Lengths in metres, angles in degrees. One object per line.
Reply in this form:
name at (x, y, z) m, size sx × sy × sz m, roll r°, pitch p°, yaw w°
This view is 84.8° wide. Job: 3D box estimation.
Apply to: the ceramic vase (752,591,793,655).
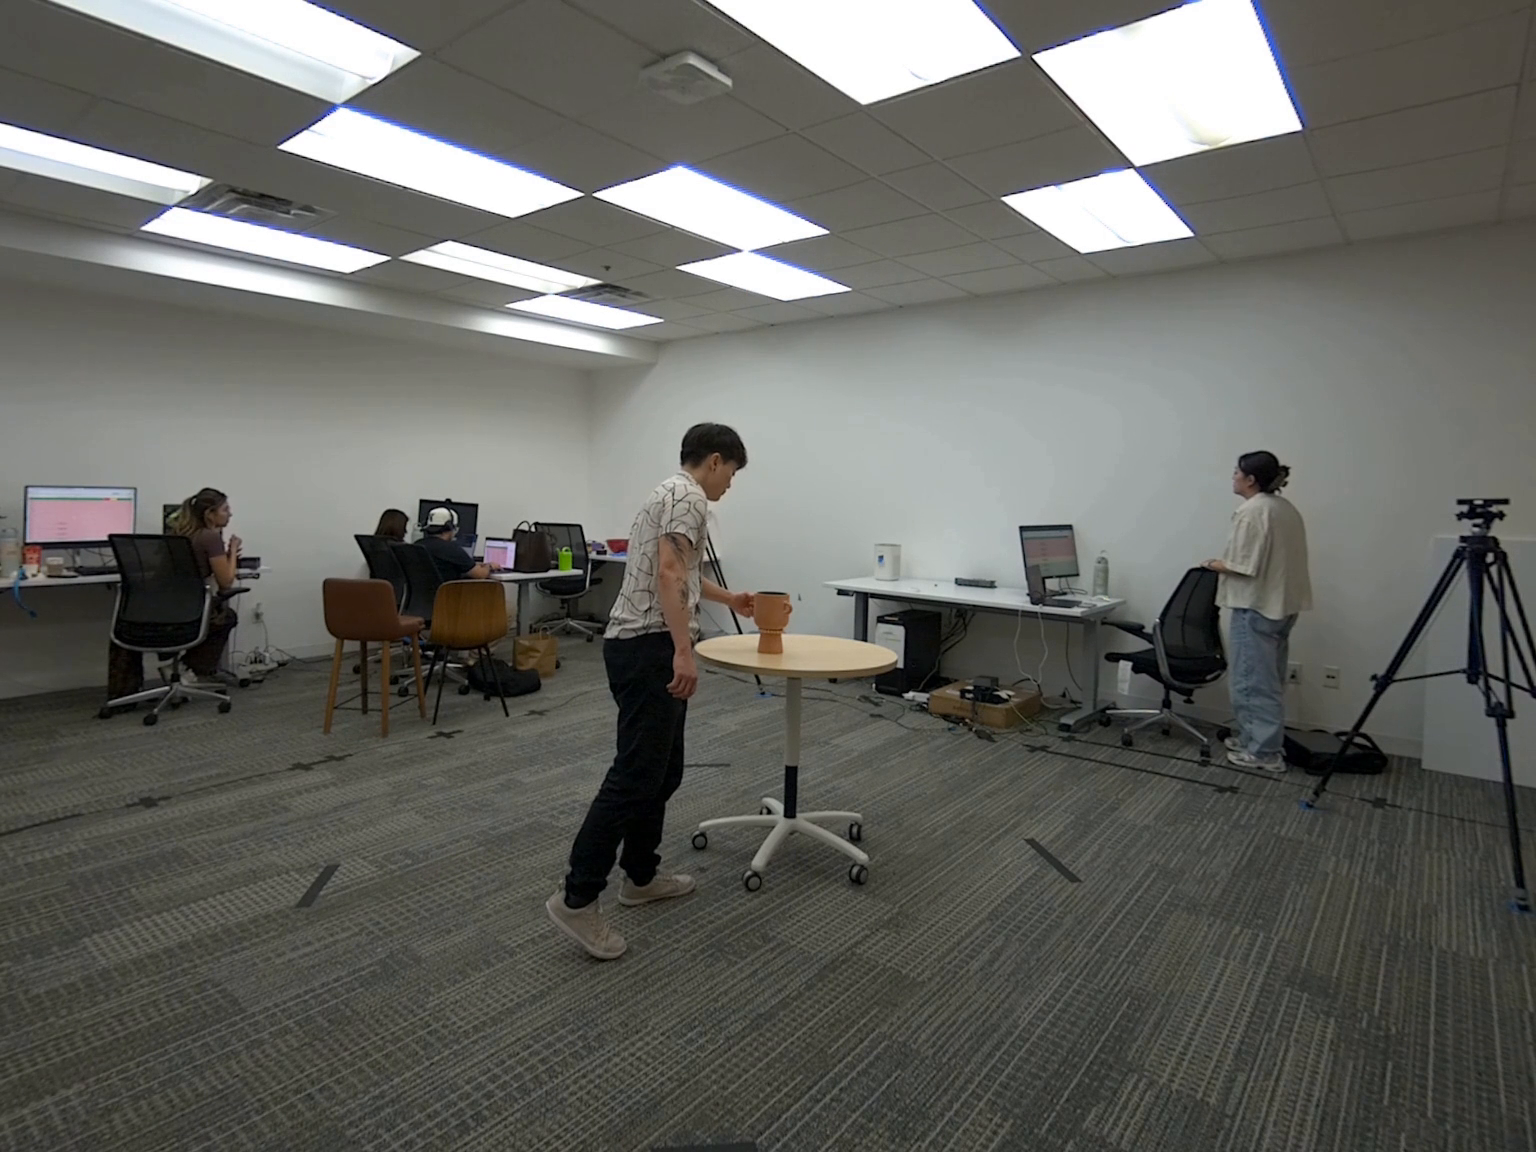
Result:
ceramic vase at (0.002, 0.171, 3.185) m, size 0.133 × 0.219 × 0.161 m, roll 0°, pitch 3°, yaw -11°
